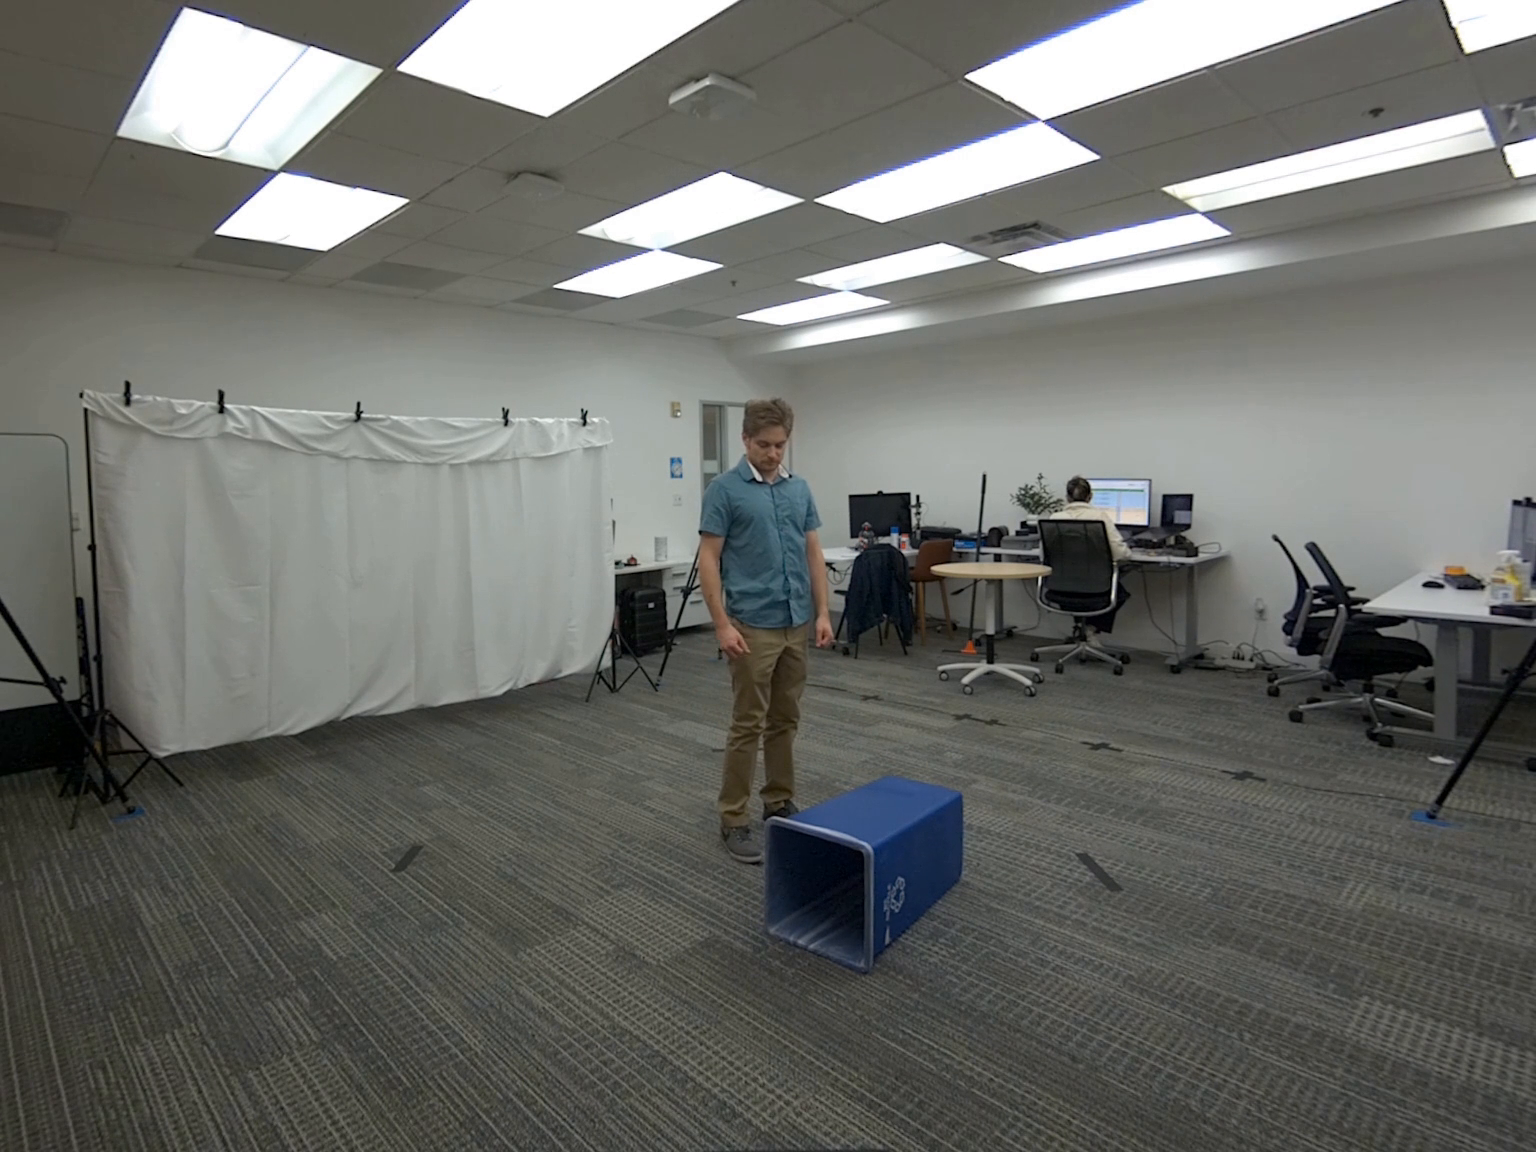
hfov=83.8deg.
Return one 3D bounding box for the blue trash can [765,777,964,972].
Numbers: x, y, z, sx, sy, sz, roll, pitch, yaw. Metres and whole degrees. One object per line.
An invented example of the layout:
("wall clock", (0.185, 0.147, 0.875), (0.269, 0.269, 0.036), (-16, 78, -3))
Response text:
("blue trash can", (0.342, 0.914, 2.783), (0.385, 0.377, 0.694), (2, 3, 37))
